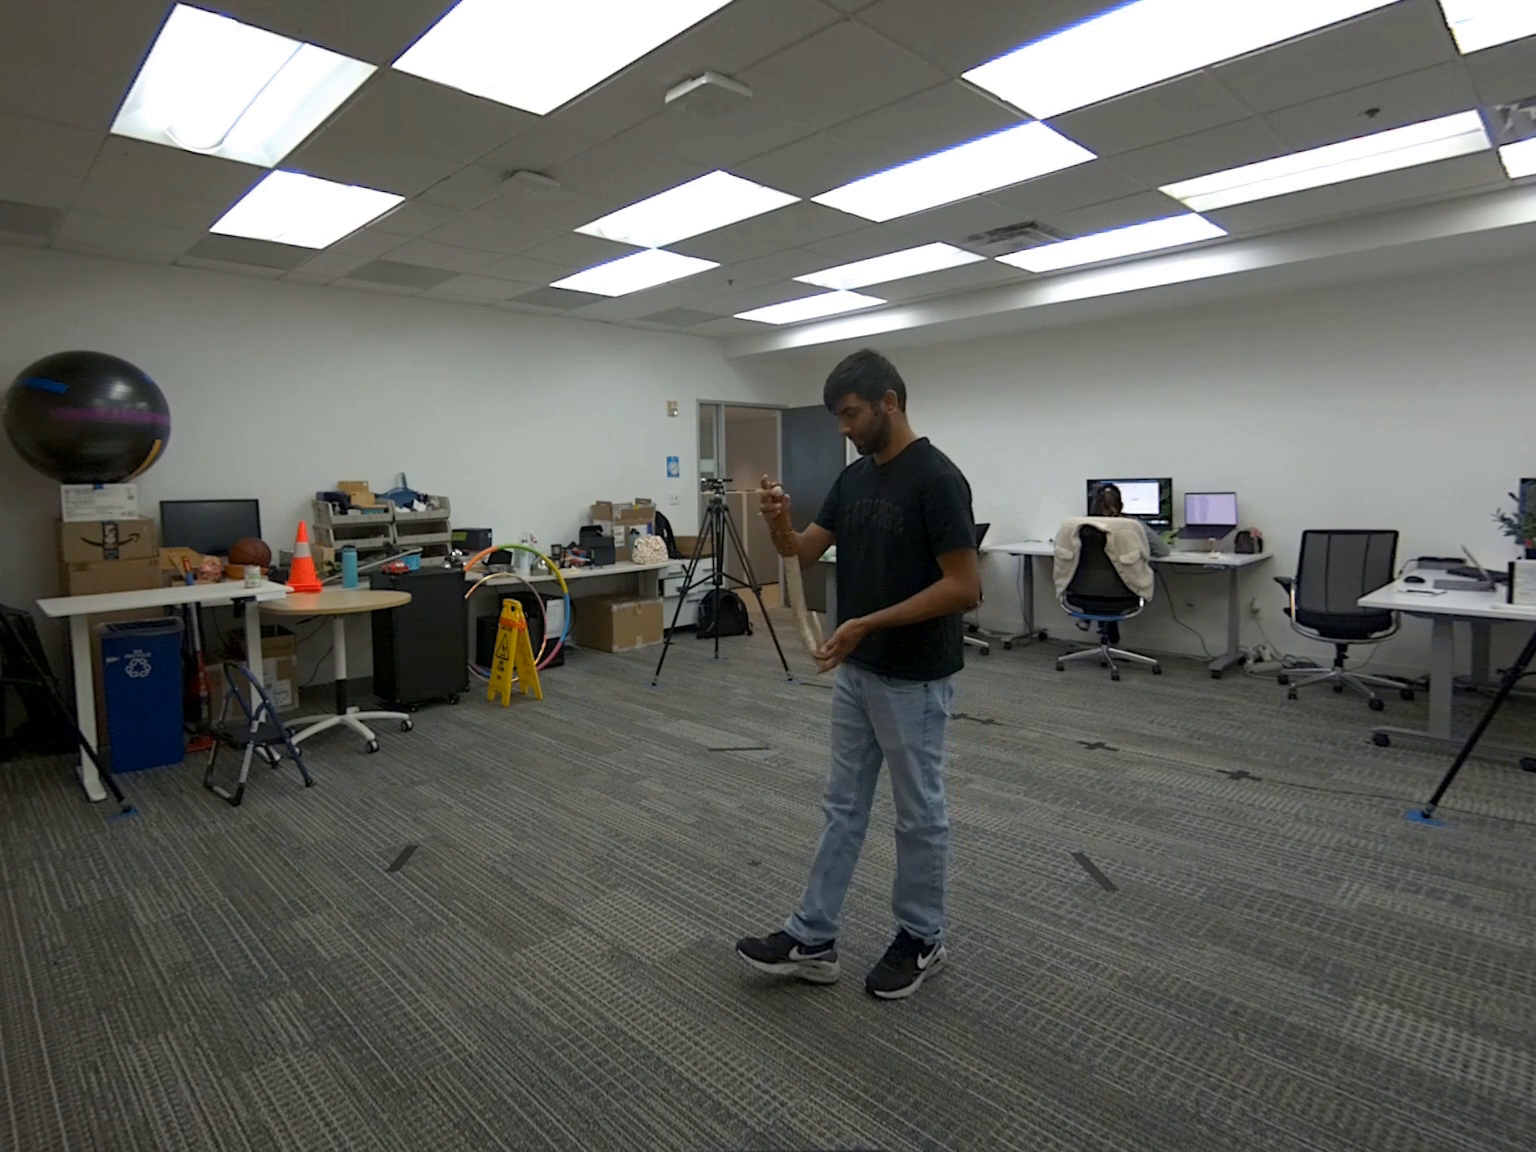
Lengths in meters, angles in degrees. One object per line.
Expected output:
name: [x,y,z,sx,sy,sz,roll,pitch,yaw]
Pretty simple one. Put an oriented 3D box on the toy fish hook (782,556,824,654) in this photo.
toy fish hook: [0.096,0.010,2.189,0.048,0.494,0.232,-14,26,-12]
